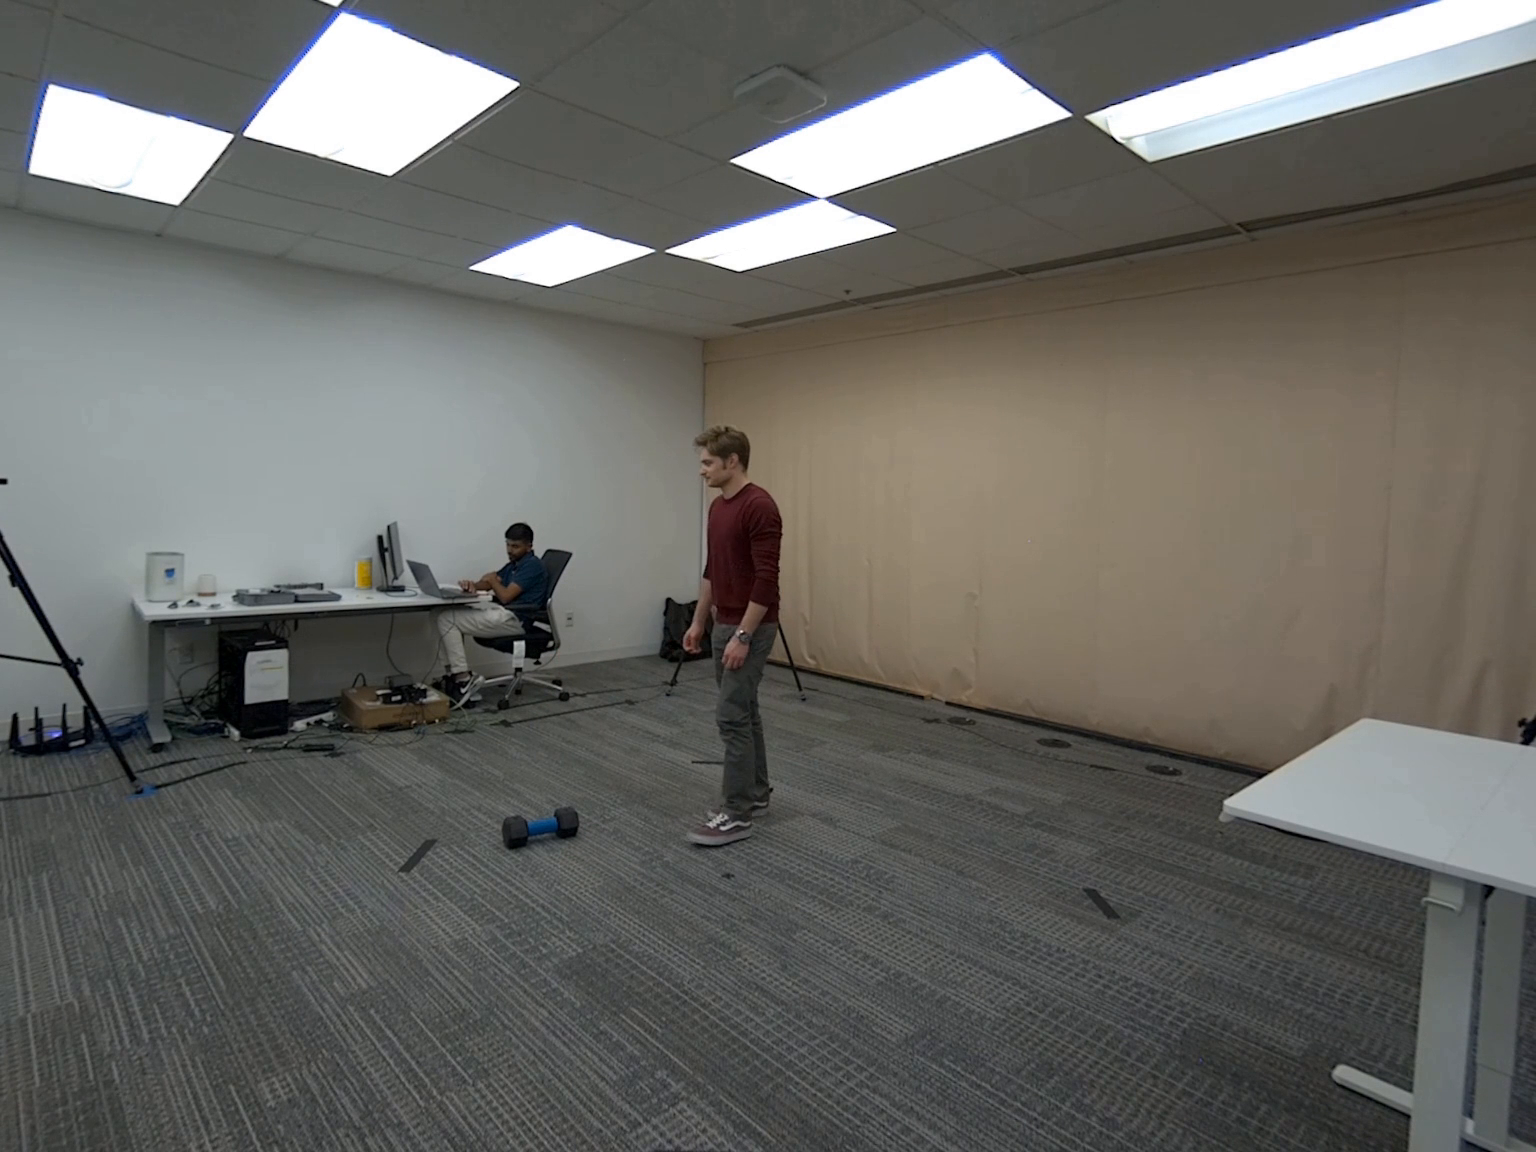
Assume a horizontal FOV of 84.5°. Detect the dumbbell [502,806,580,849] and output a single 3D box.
[{"bbox_3d":[-0.925,1.013,3.387,0.287,0.121,0.112,-2,35,-33],"label":"dumbbell"}]
